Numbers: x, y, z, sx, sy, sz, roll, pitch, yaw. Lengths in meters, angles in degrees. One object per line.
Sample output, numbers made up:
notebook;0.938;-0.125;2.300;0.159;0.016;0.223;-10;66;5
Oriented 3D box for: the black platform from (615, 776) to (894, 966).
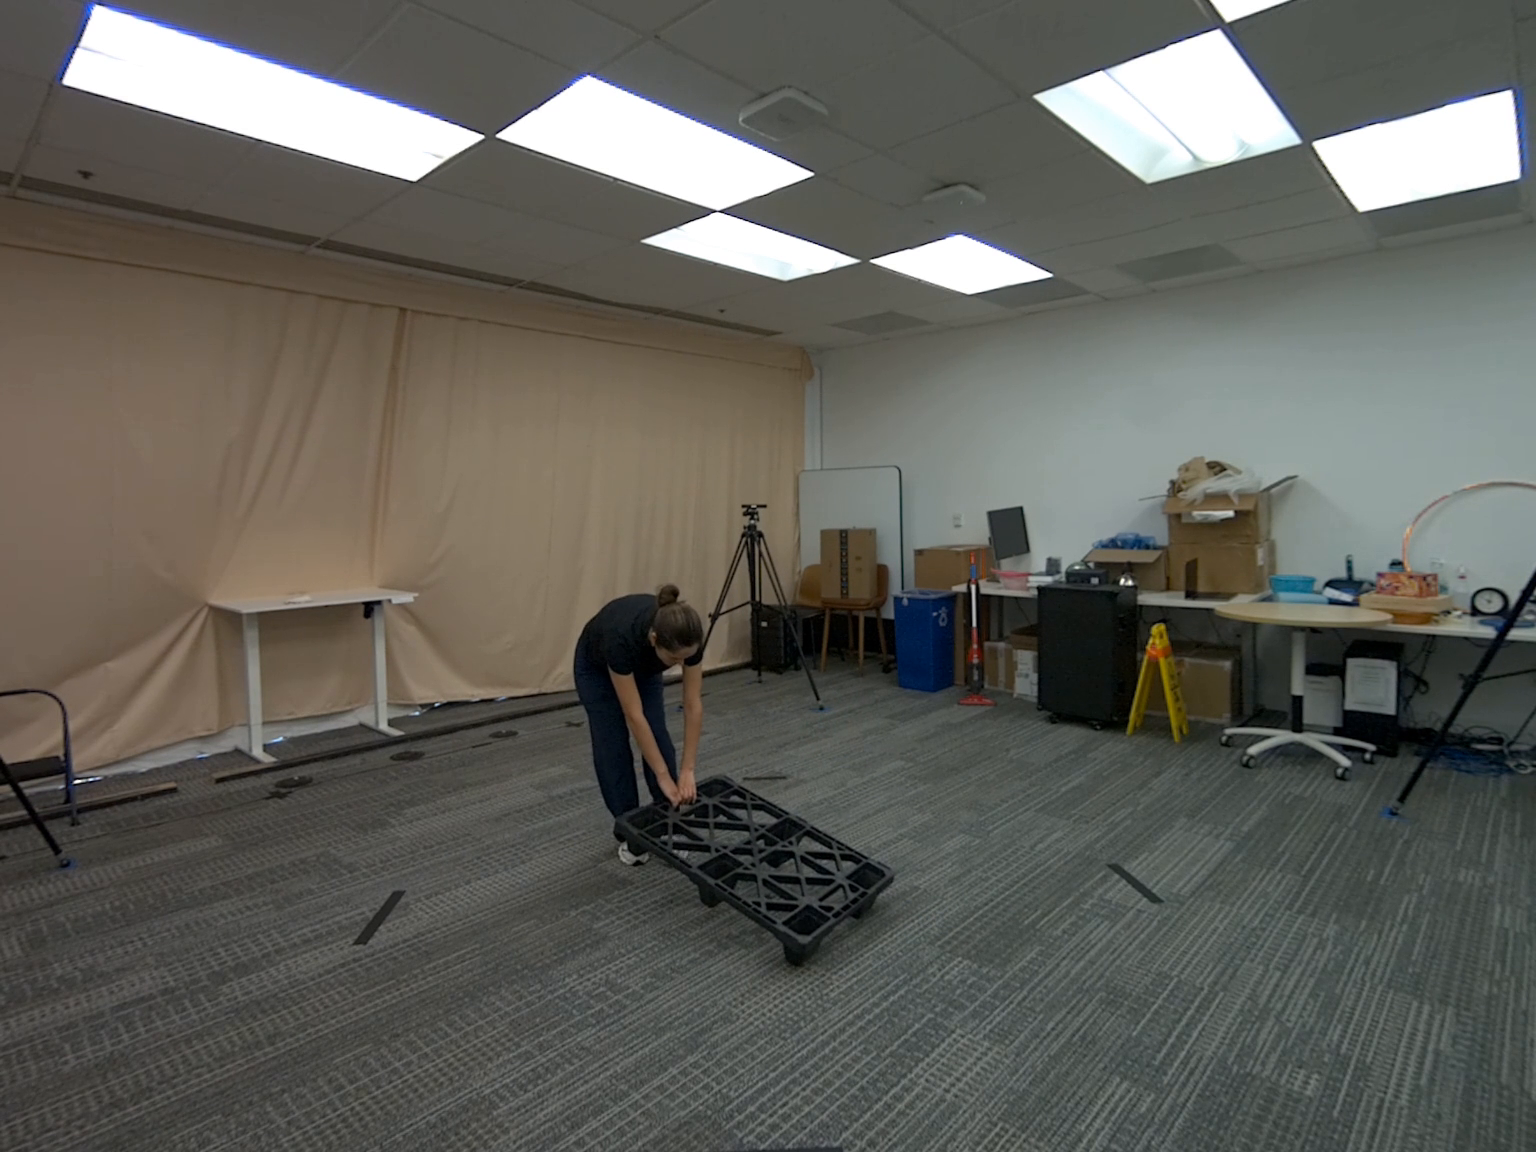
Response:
black platform;-0.042;0.995;2.920;0.833;0.142;0.587;20;15;34
